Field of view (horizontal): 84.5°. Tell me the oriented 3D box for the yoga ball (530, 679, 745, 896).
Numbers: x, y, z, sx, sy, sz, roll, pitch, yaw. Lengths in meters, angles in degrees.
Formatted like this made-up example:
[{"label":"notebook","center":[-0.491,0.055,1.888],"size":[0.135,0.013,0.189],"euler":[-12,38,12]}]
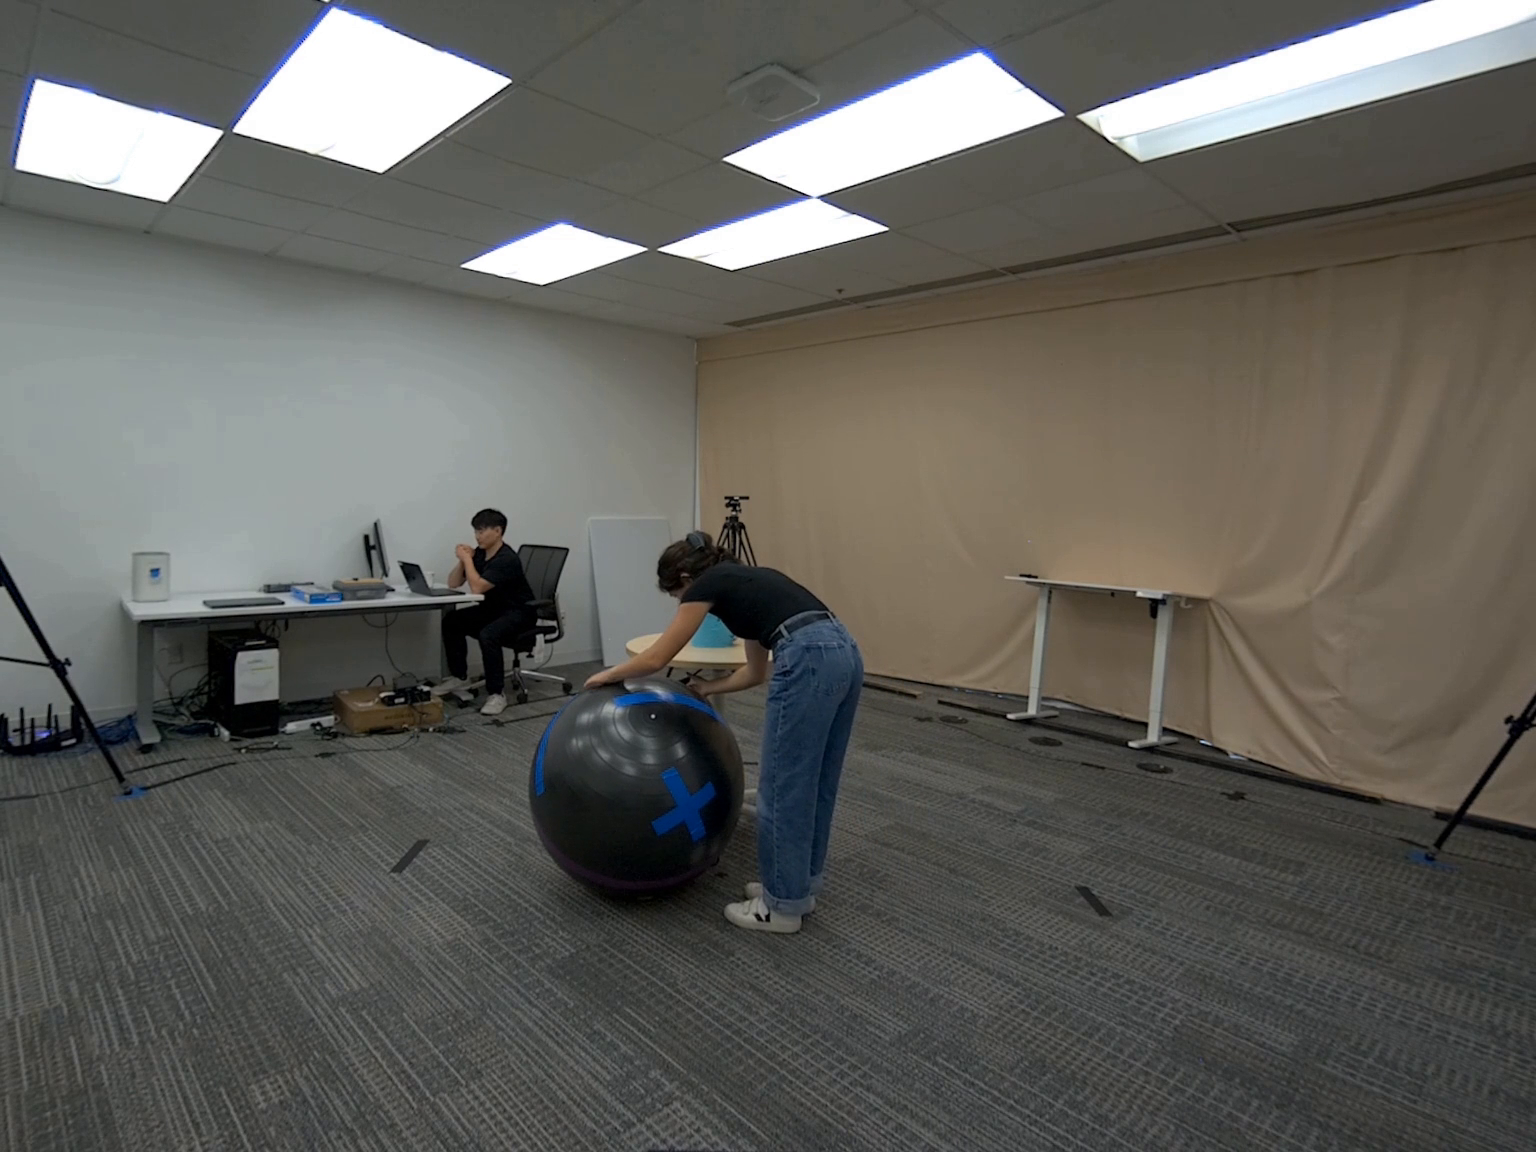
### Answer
[{"label":"yoga ball","center":[-0.466,0.750,2.975],"size":[0.757,0.756,0.761],"euler":[1,4,-1]}]
